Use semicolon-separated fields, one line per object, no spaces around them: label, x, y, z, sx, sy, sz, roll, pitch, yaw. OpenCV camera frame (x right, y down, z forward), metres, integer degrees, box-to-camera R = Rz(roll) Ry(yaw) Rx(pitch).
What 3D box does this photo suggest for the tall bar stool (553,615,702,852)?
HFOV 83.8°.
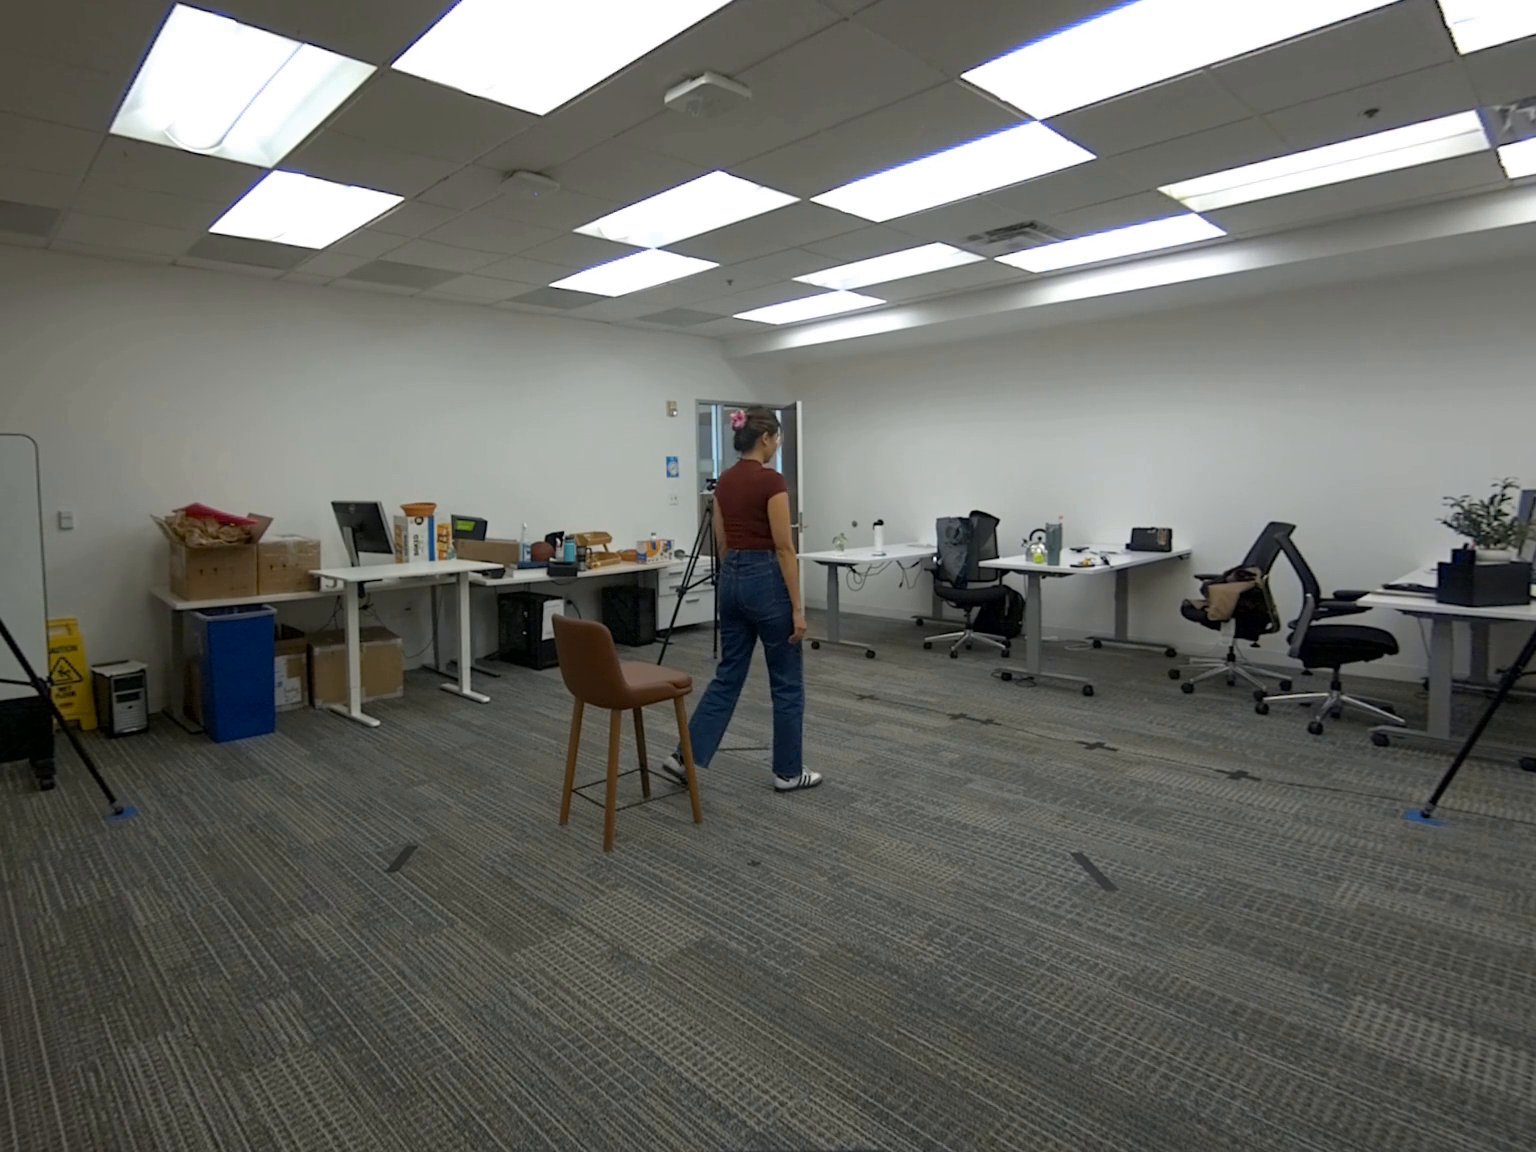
tall bar stool;-0.583;0.578;3.474;0.456;0.886;0.470;-6;6;-40
